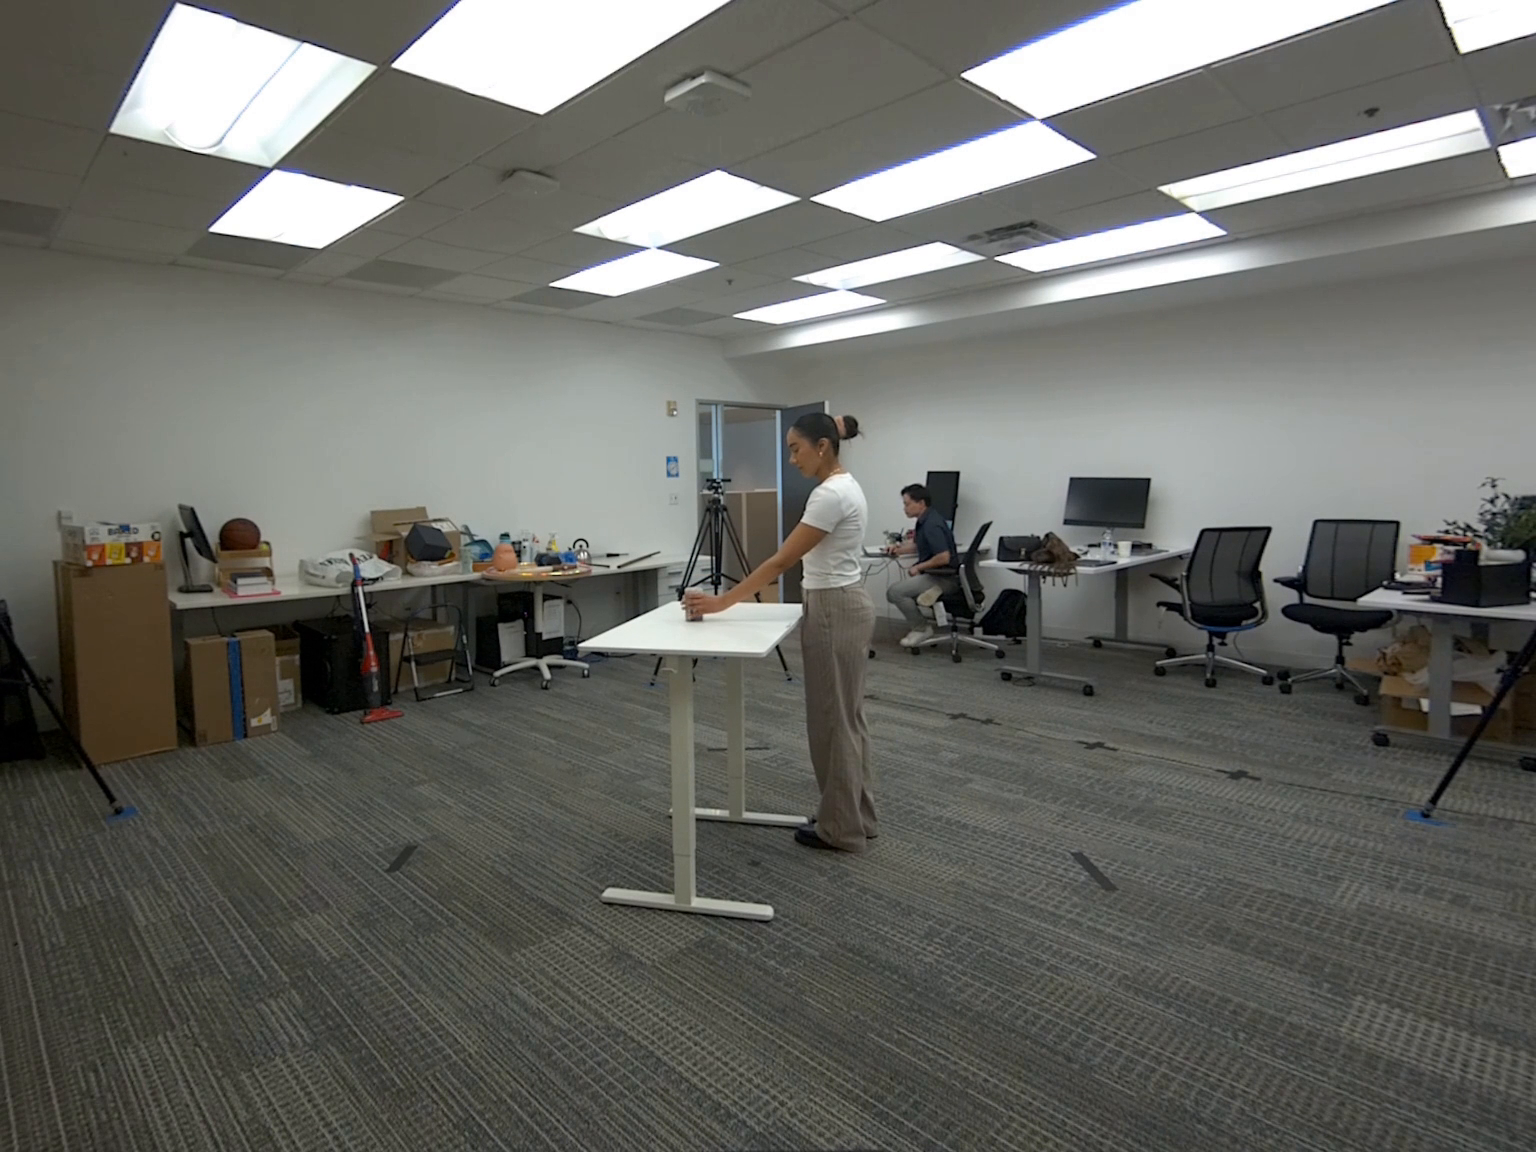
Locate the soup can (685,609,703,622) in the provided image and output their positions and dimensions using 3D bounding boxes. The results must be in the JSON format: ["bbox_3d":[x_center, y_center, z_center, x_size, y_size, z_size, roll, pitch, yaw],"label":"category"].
[{"bbox_3d":[-0.260,0.104,3.138,0.067,0.121,0.067,-1,6,-2],"label":"soup can"}]
